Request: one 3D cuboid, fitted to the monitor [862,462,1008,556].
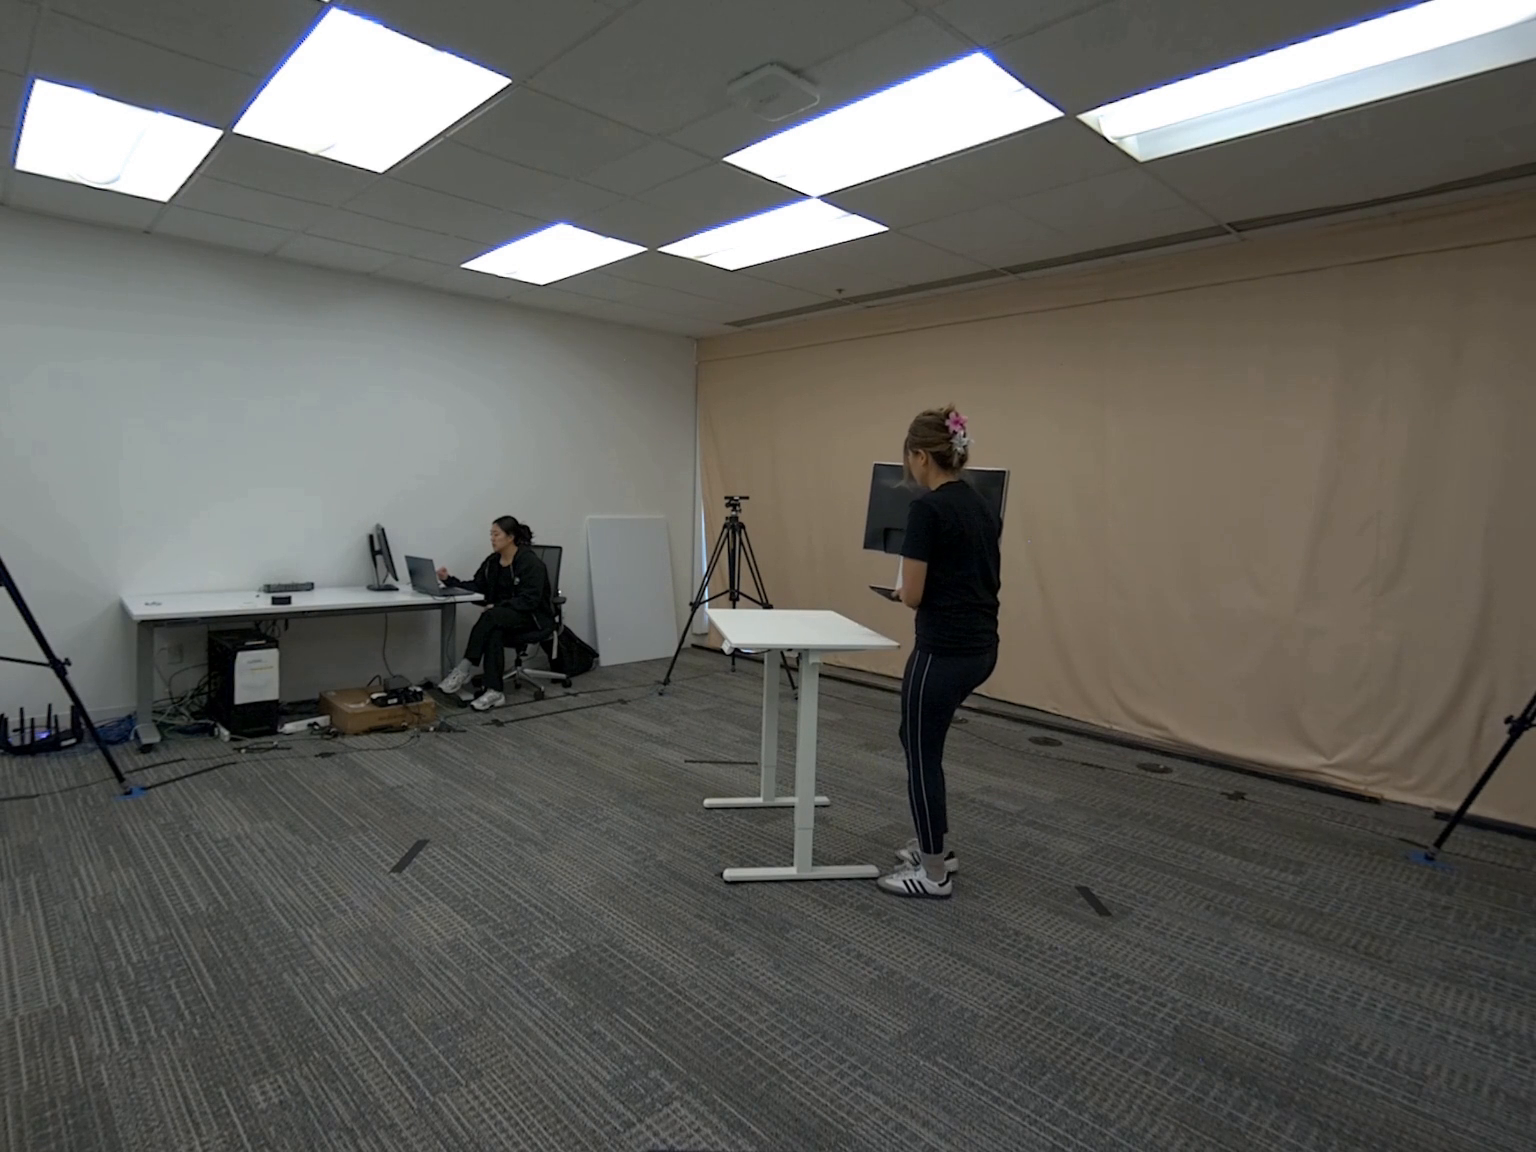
[{"bbox_3d":[0.593,-0.165,3.240,0.553,0.525,0.181,9,-10,36],"label":"monitor"}]
